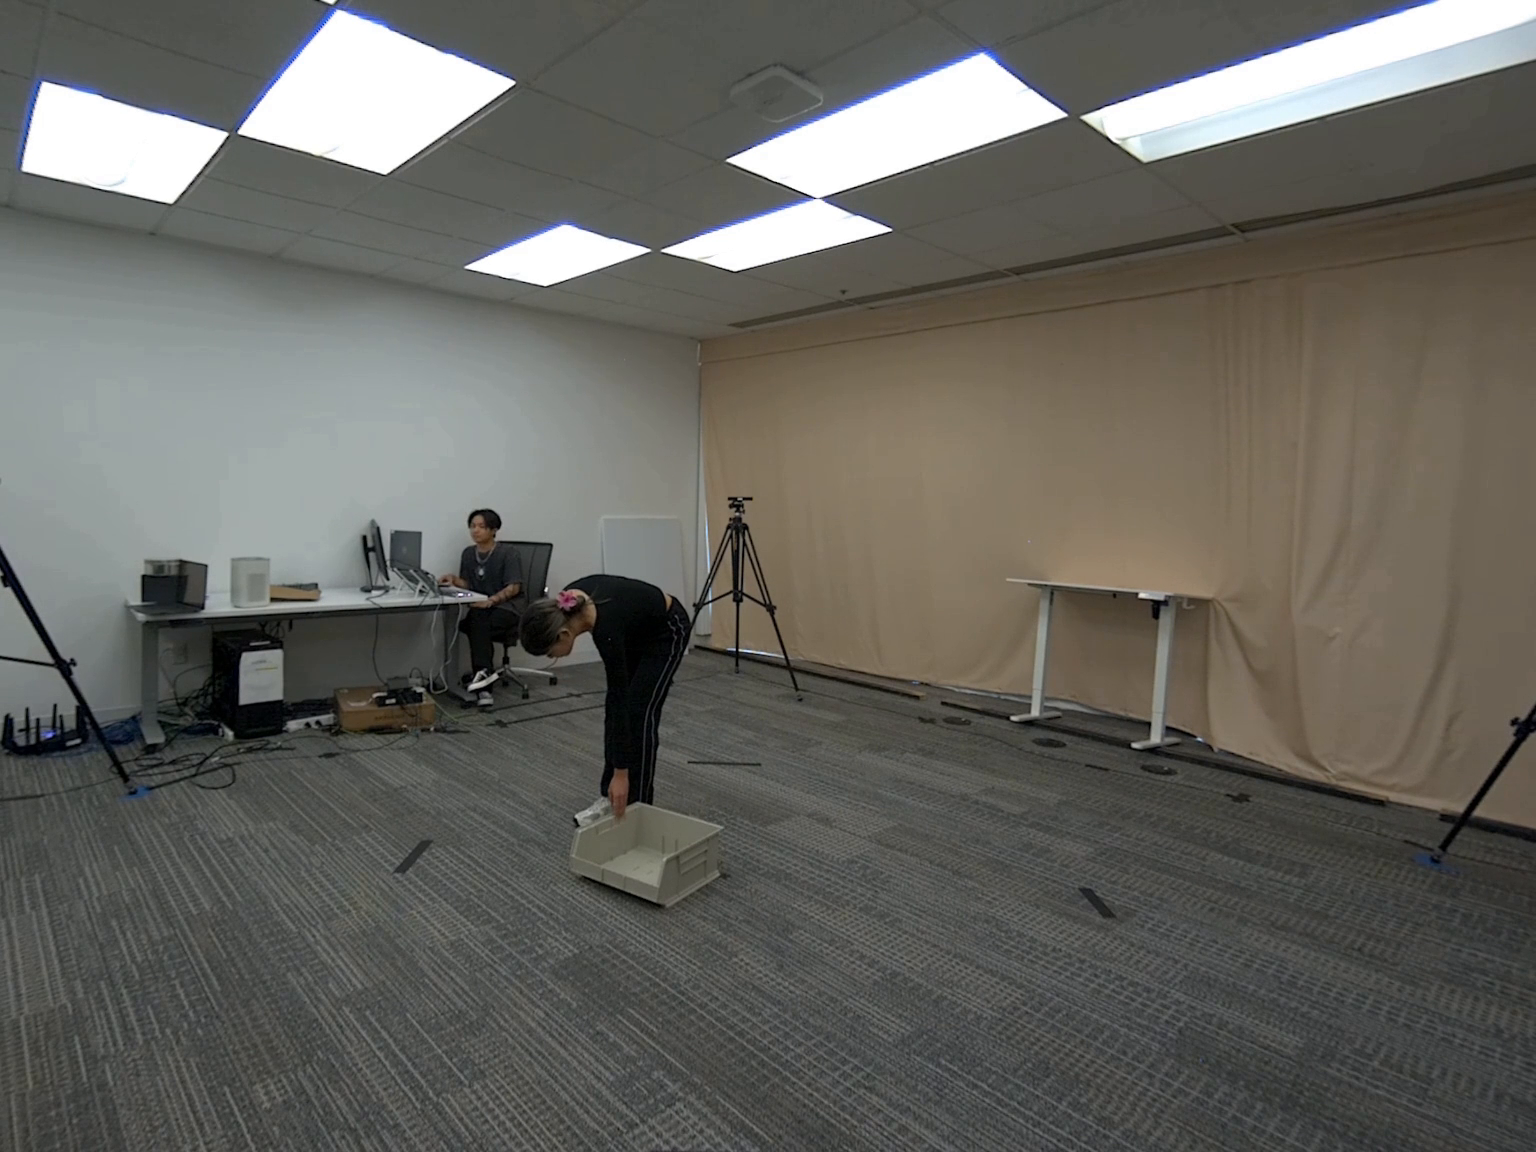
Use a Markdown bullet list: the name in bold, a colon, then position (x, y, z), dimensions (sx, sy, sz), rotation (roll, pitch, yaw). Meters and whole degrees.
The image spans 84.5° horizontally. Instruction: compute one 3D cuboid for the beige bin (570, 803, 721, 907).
- **beige bin**: position (-0.445, 1.019, 3.073), dimensions (0.432, 0.188, 0.369), rotation (4, 5, 33)
